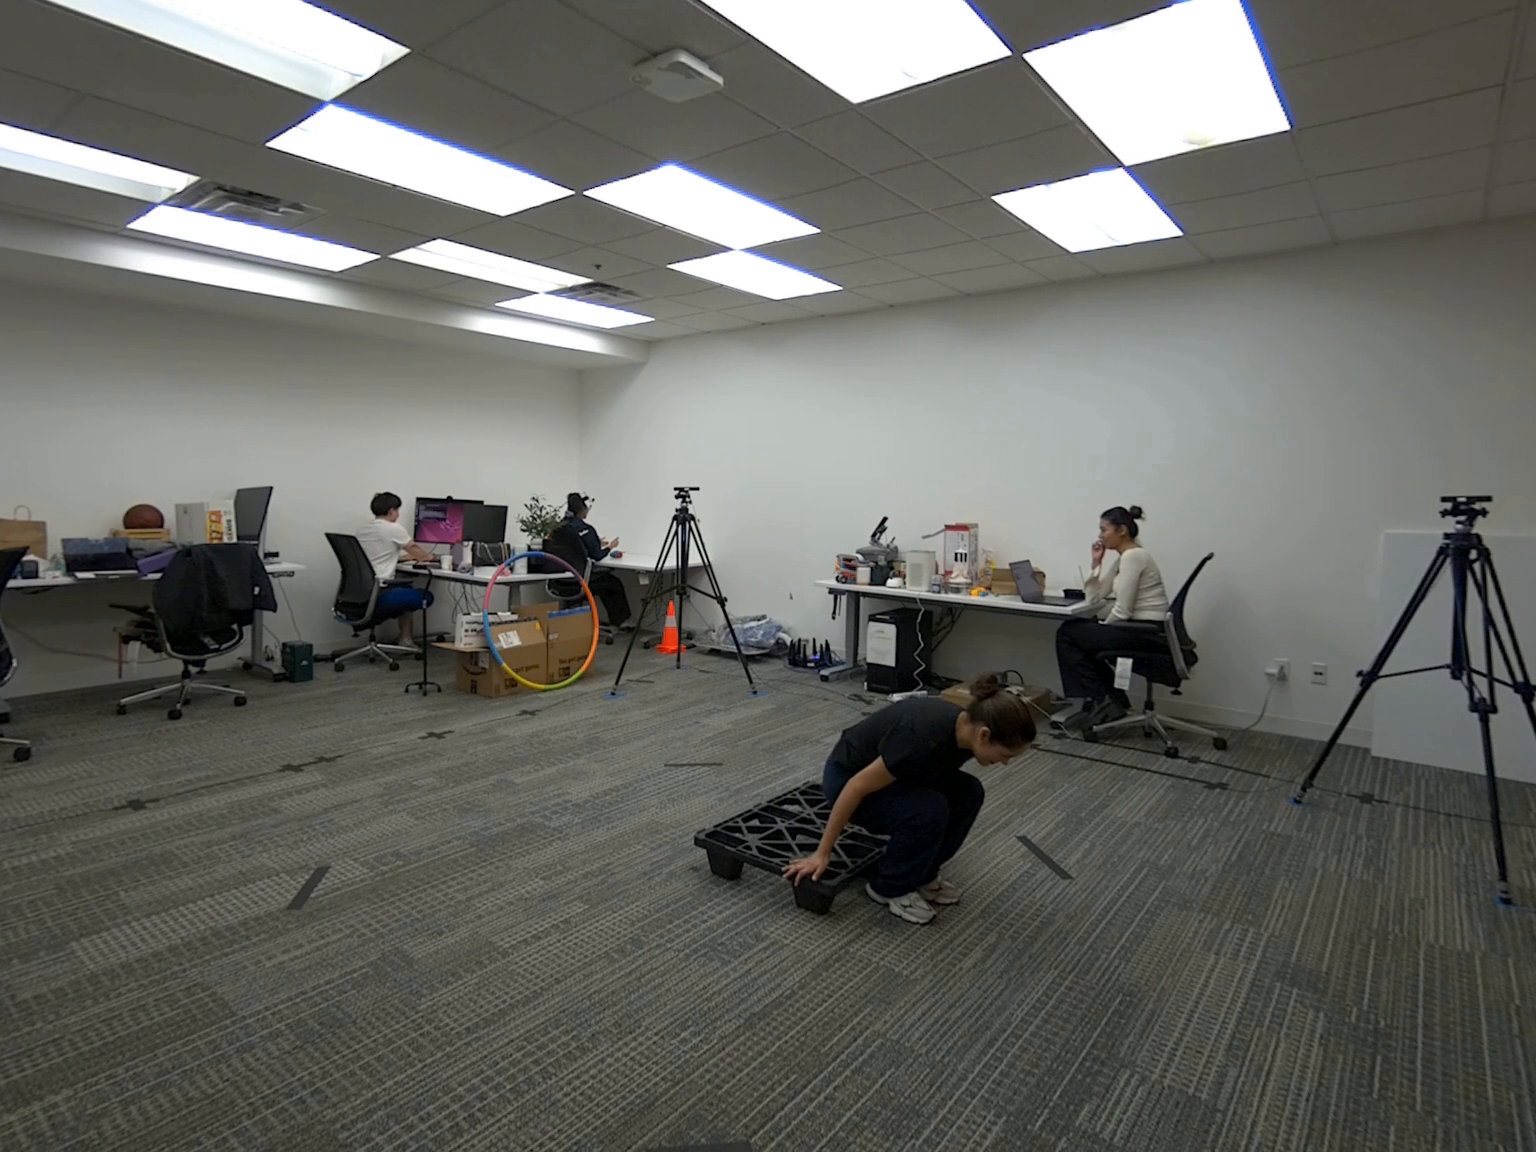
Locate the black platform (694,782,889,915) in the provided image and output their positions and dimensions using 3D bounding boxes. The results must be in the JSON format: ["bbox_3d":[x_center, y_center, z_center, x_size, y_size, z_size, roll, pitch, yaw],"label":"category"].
[{"bbox_3d":[0.204,0.994,3.209,0.625,0.143,0.782,4,6,37],"label":"black platform"}]
